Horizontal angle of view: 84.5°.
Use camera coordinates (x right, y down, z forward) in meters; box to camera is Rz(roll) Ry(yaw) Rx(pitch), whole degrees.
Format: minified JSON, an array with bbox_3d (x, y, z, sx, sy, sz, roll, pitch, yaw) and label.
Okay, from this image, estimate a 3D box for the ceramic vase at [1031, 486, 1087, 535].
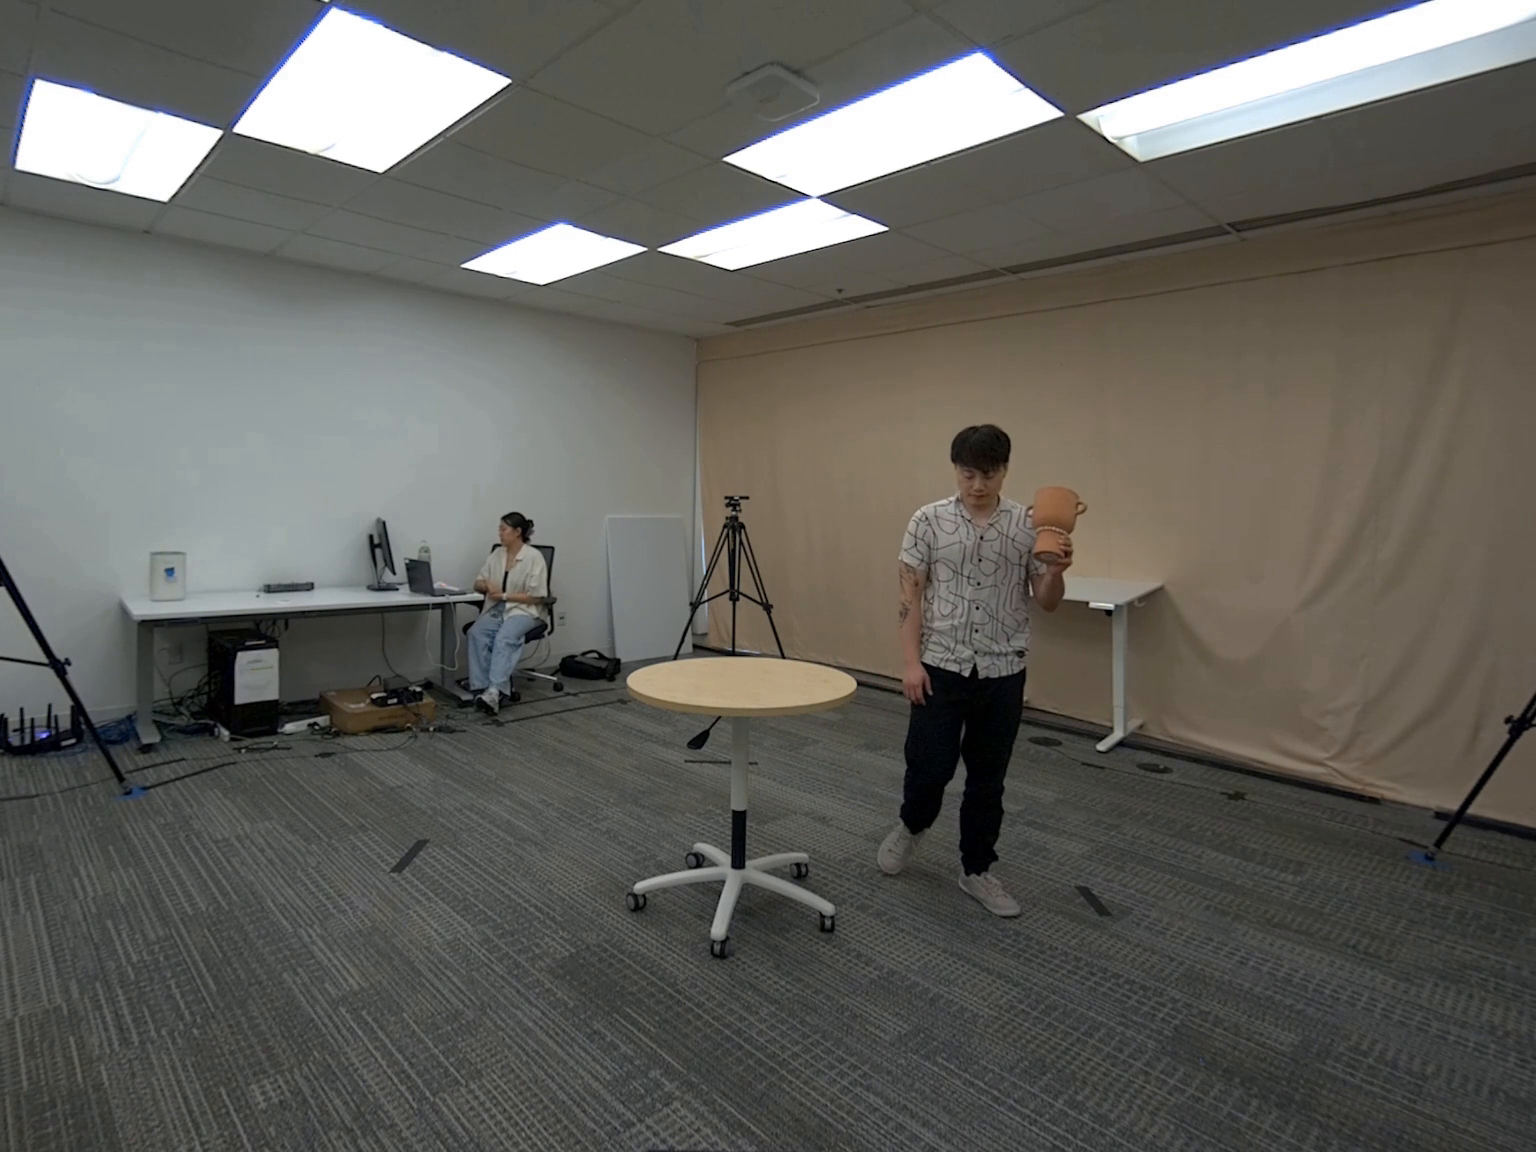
[{"bbox_3d":[0.883,-0.157,2.662,0.134,0.222,0.158,17,-20,-3],"label":"ceramic vase"}]
